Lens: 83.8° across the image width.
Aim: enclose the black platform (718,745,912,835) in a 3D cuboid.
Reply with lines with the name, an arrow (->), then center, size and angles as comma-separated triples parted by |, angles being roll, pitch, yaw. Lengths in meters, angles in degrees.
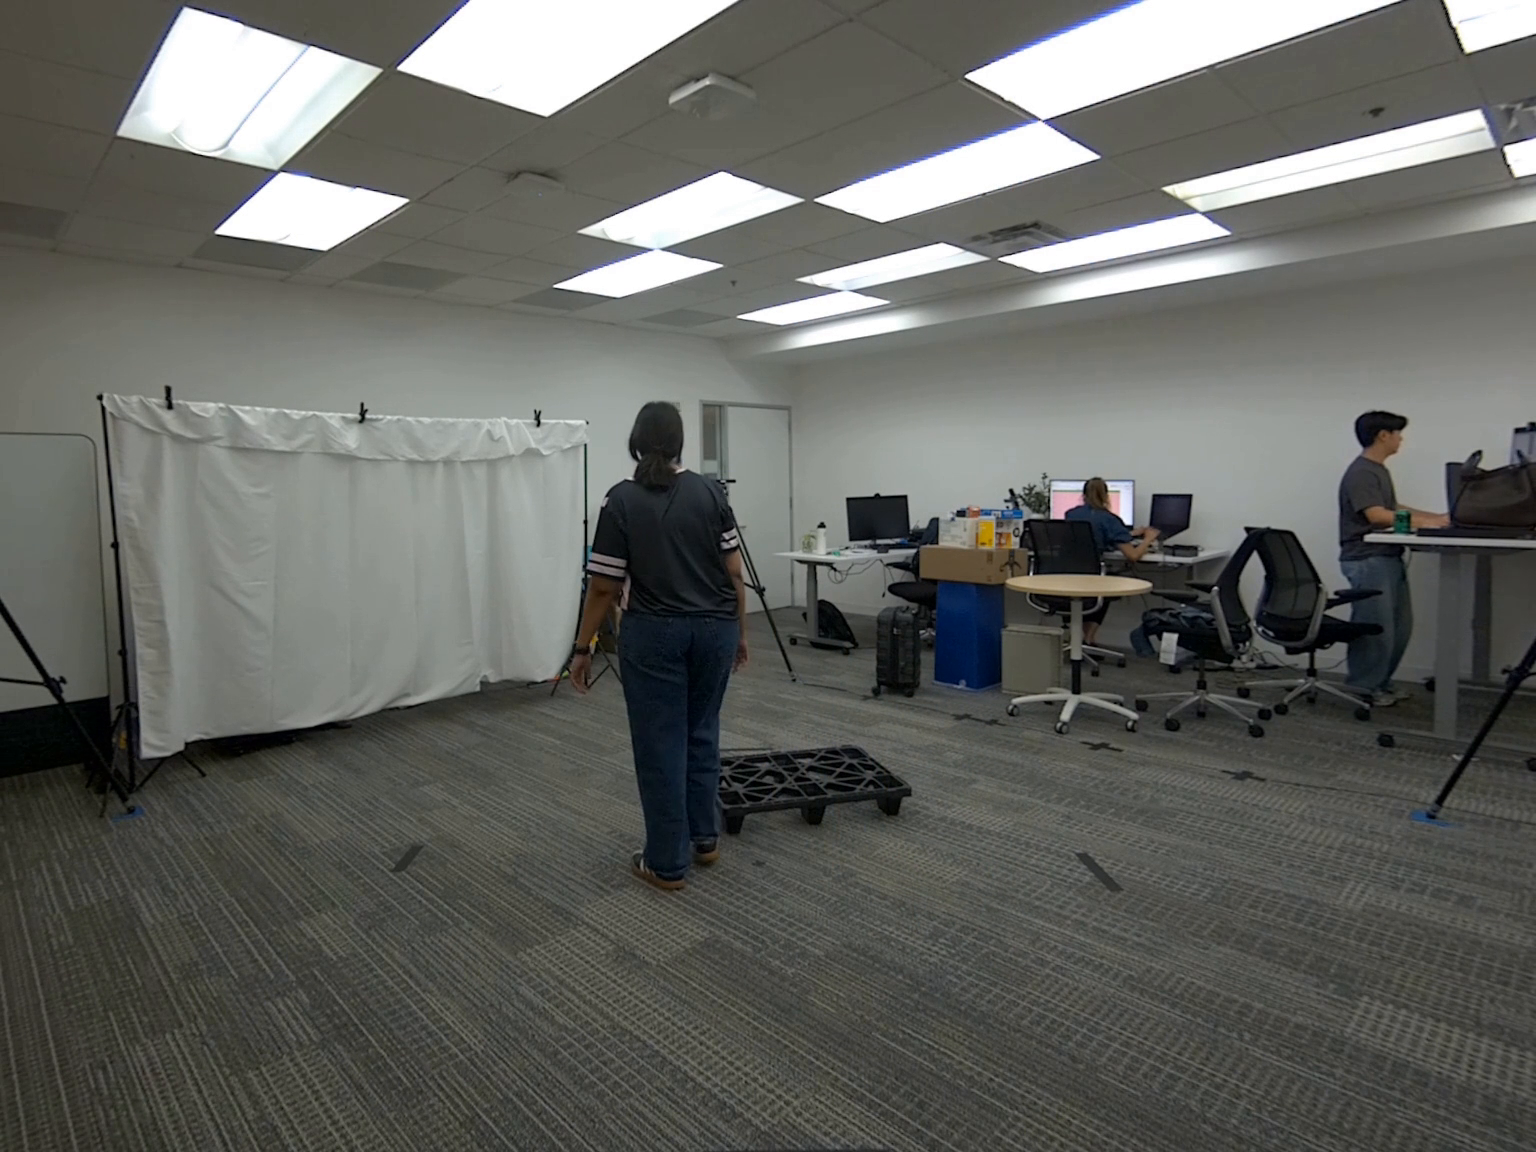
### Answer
black platform -> 0.125, 0.915, 3.682 | 0.795, 0.143, 0.615 | -2, 6, -14
